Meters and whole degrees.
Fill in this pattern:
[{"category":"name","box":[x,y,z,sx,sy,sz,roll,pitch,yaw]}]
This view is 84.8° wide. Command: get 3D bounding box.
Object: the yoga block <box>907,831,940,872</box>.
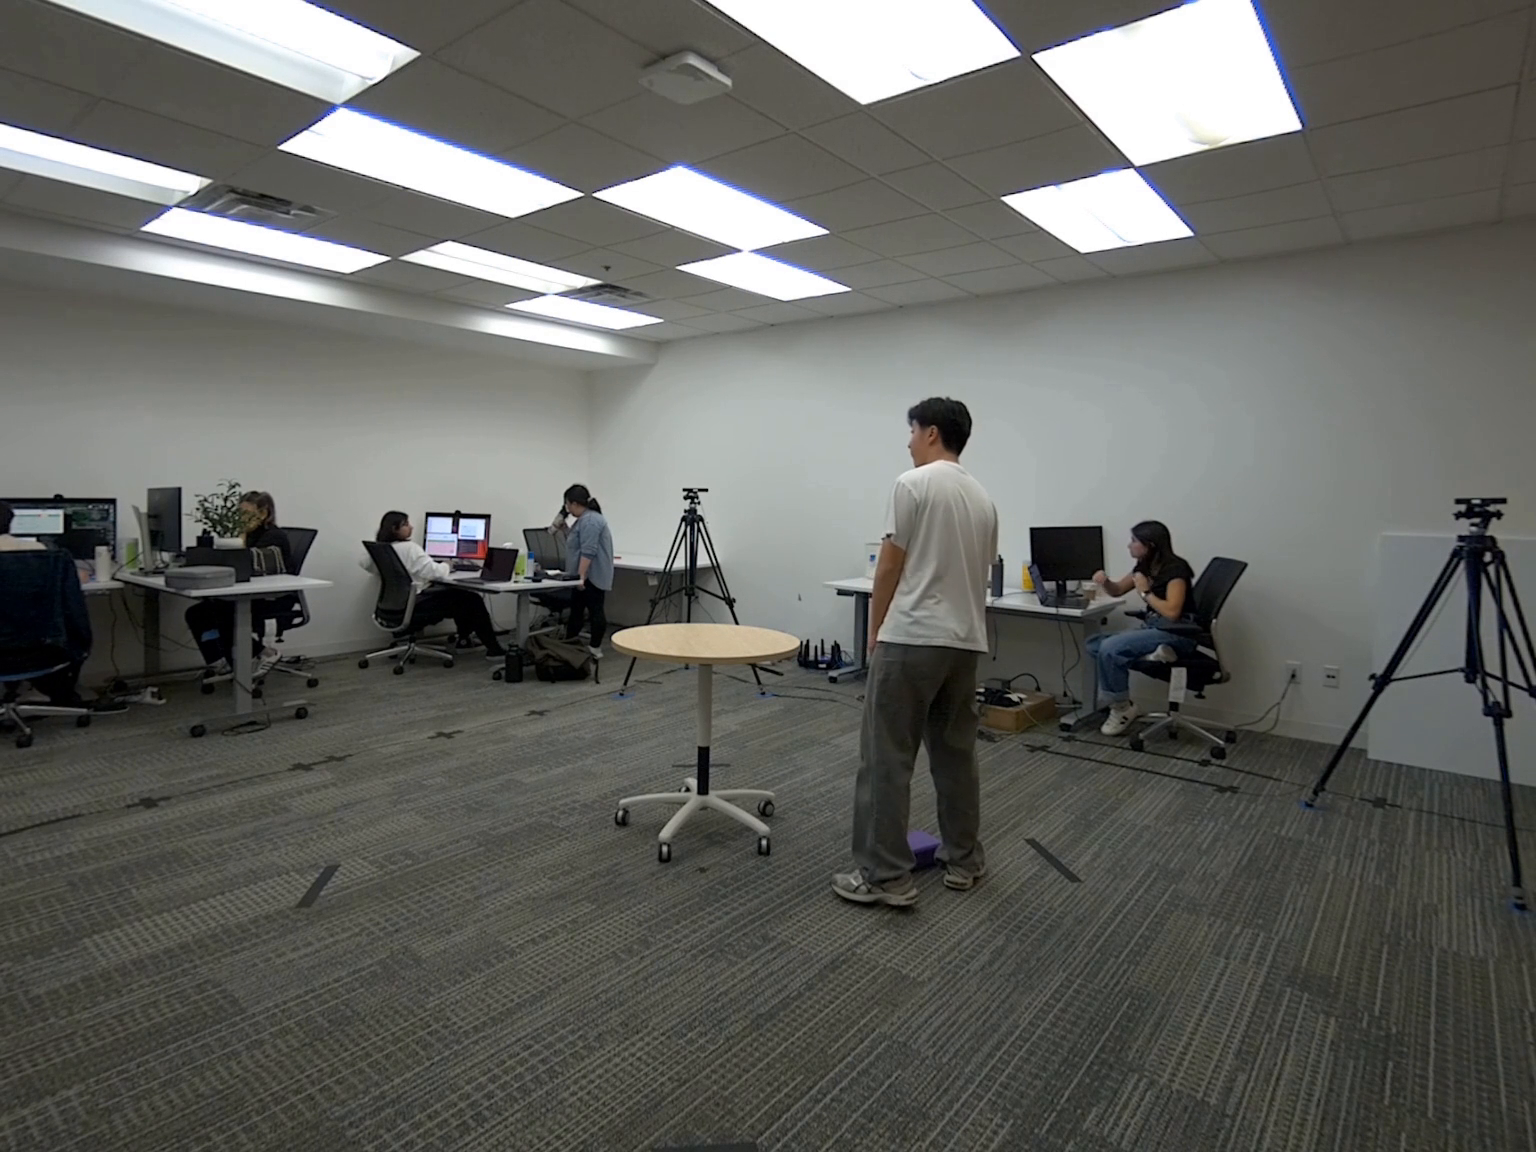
[{"category":"yoga block","box":[0.553,1.029,3.224,0.223,0.076,0.154,-2,6,-32]}]
